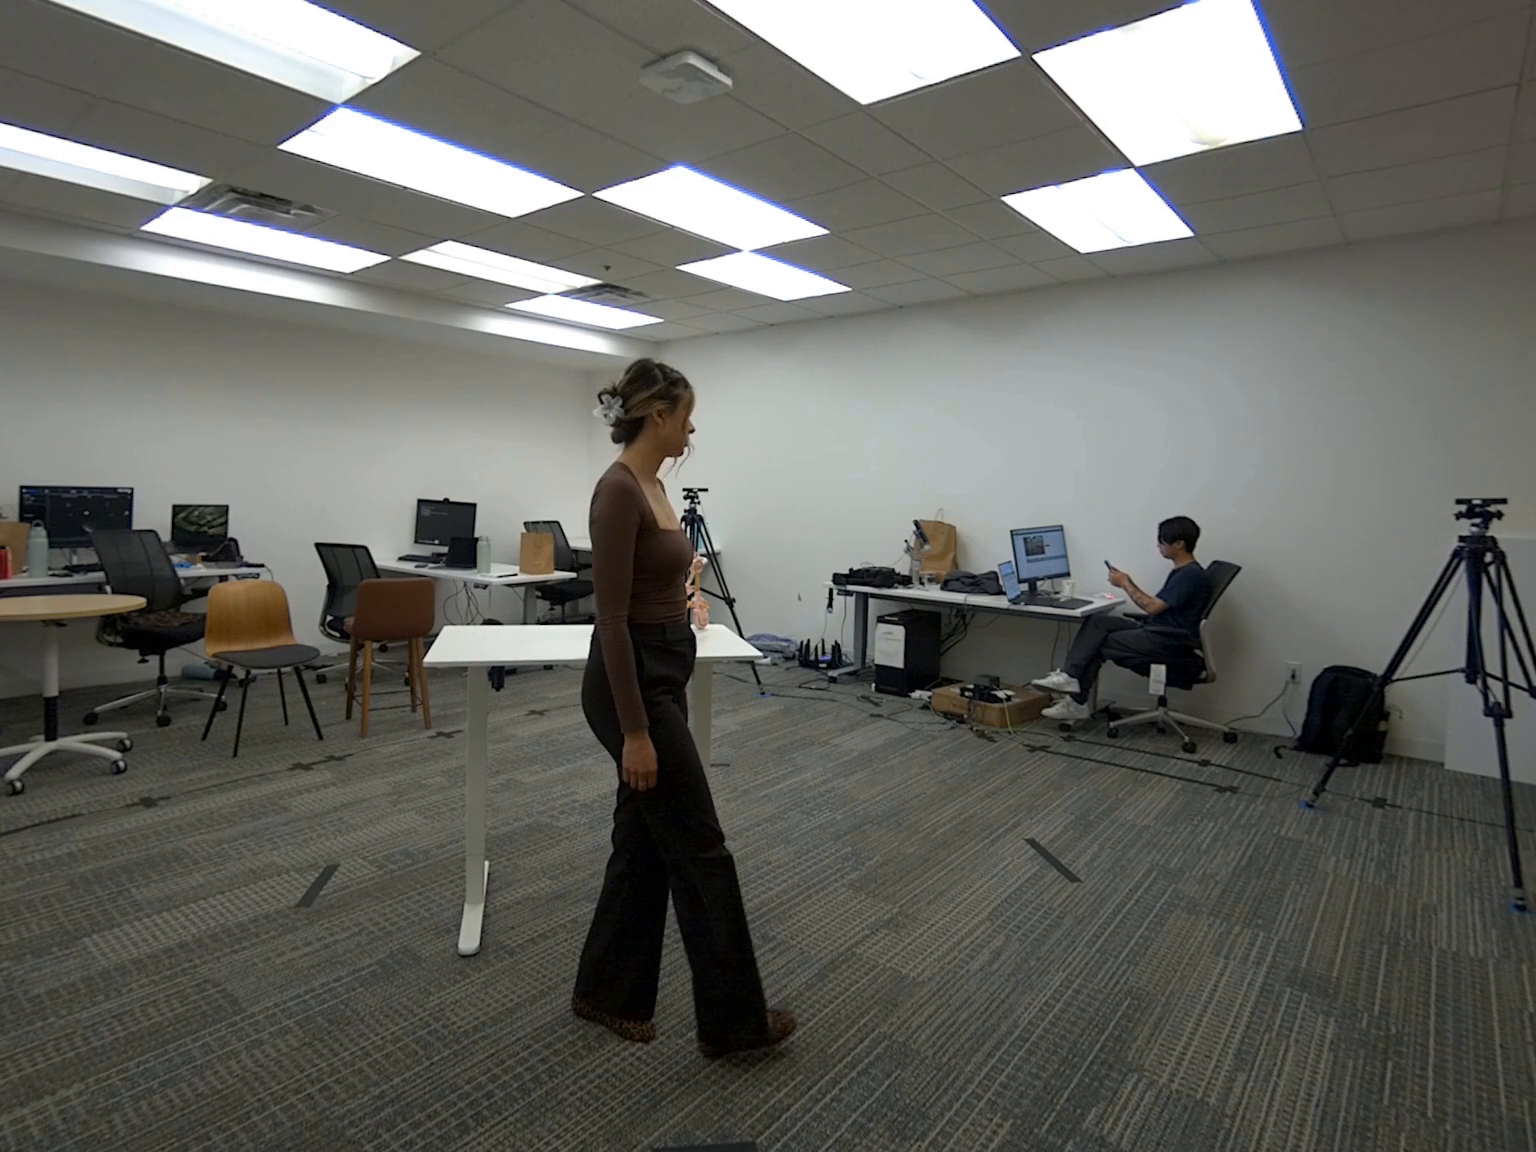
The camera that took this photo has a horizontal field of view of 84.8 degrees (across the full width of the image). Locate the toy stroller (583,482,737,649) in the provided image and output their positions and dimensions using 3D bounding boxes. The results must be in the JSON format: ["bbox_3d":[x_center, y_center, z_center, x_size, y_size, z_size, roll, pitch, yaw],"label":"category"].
[{"bbox_3d":[-0.376,-0.026,2.946,0.335,0.527,0.291,-21,17,-38],"label":"toy stroller"}]
